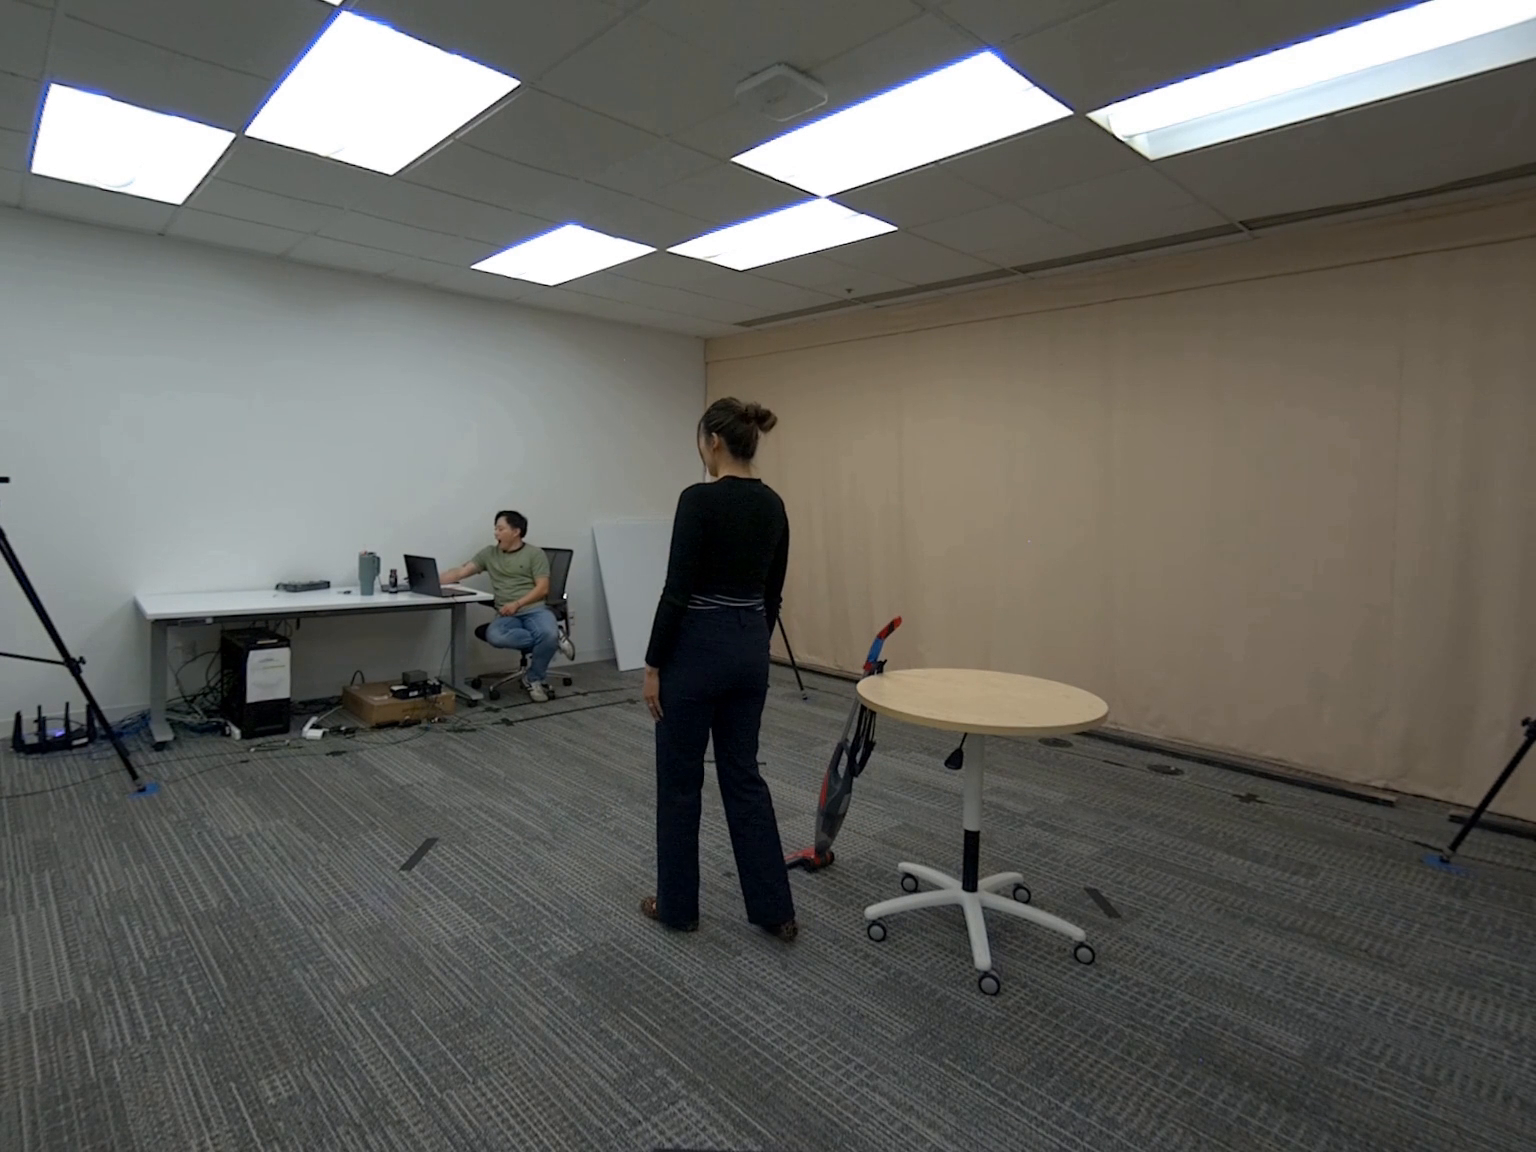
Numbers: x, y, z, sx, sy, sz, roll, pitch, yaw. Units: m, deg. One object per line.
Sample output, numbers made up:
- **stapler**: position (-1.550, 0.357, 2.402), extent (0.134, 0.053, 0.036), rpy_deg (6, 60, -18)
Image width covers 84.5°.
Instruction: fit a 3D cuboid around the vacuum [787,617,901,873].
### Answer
- **vacuum**: position (0.297, 0.628, 3.061), extent (0.247, 1.040, 0.148), rpy_deg (-1, 26, -44)
